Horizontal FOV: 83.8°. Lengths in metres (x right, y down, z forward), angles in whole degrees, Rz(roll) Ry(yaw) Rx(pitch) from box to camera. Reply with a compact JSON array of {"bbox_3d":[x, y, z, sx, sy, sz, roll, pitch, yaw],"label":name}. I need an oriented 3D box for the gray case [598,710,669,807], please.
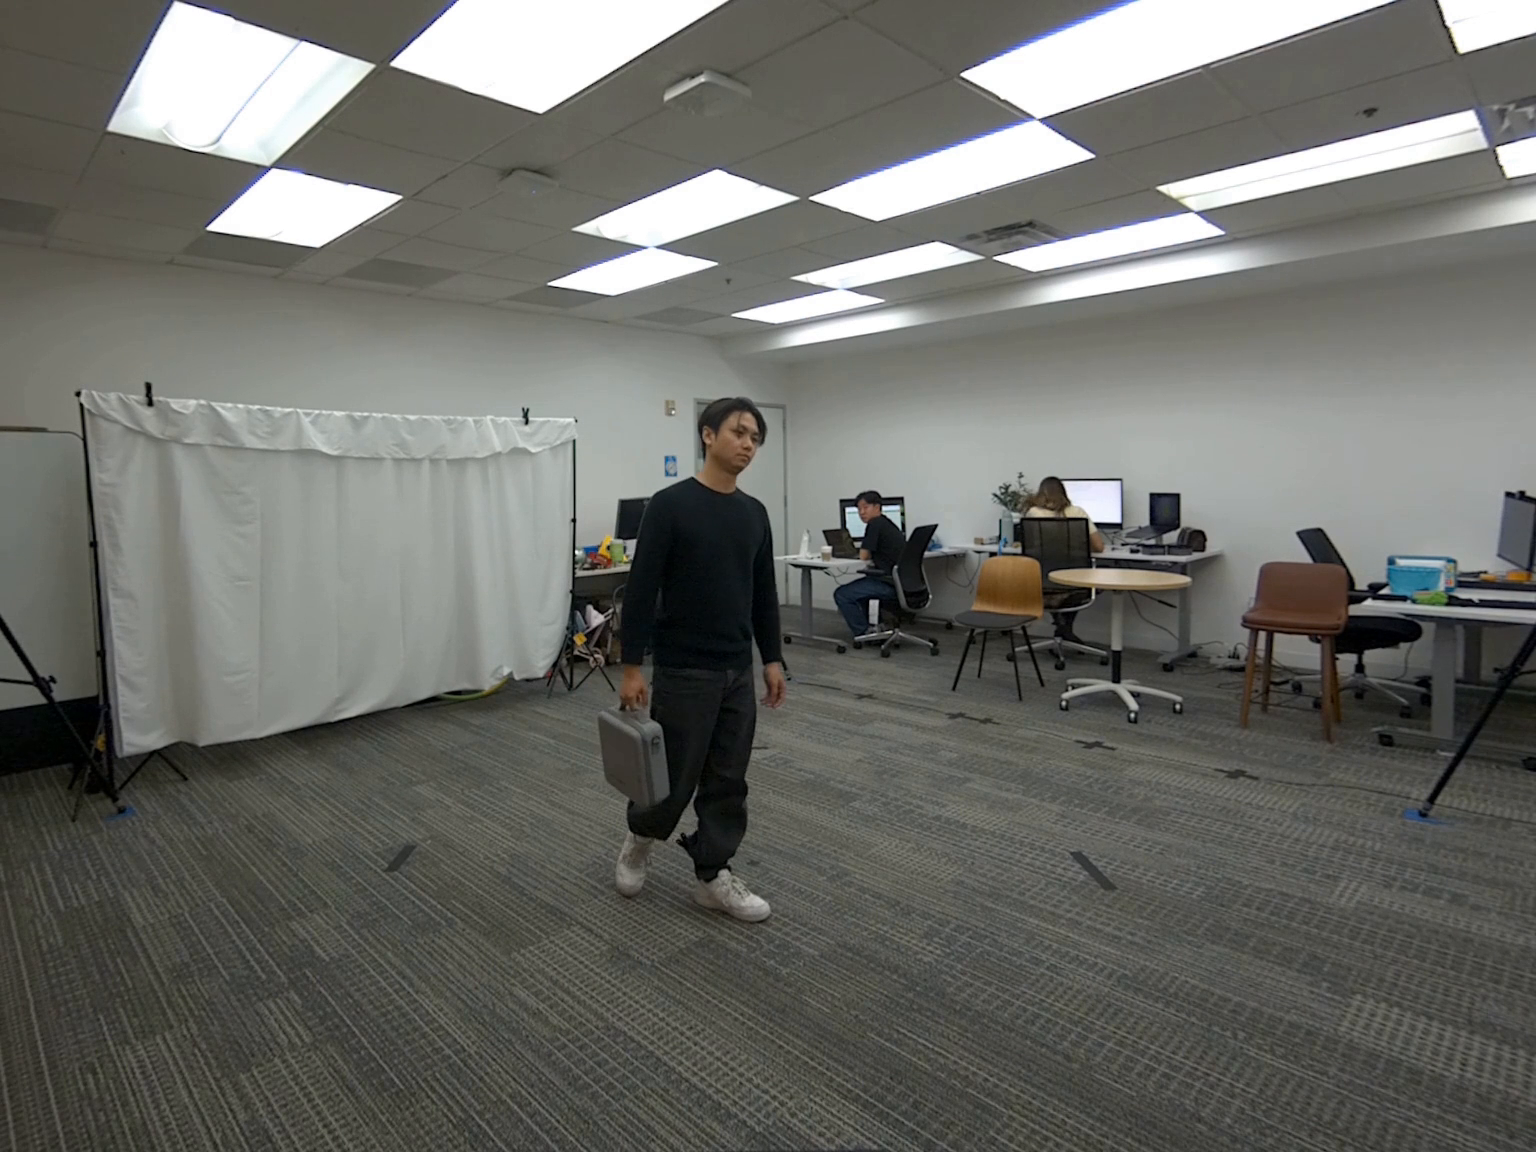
[{"bbox_3d":[-0.410,0.538,2.637,0.102,0.257,0.265,-13,16,-36],"label":"gray case"}]
